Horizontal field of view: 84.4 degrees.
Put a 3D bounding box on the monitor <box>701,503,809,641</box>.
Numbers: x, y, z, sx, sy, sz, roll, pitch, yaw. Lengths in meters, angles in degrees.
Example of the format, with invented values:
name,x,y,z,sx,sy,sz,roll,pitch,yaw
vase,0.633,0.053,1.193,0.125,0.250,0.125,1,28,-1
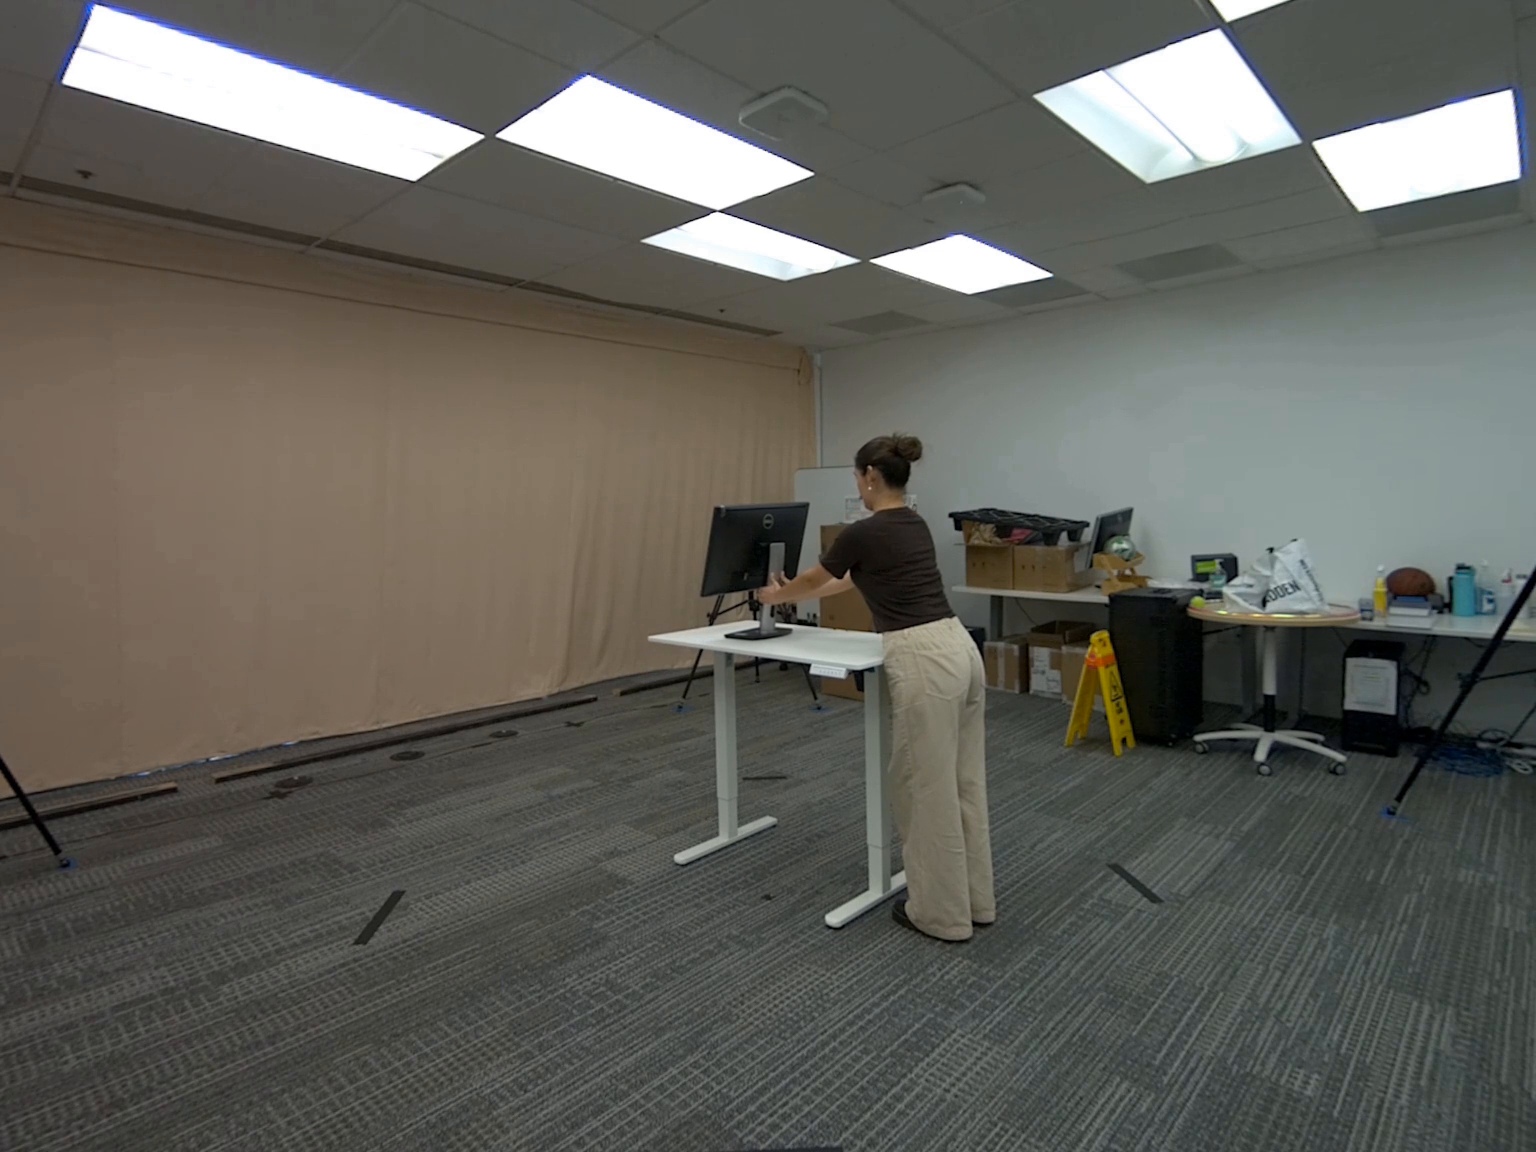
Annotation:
name,x,y,z,sx,sy,sz,roll,pitch,yaw
monitor,-0.018,-0.019,3.285,0.193,0.521,0.523,5,7,41
